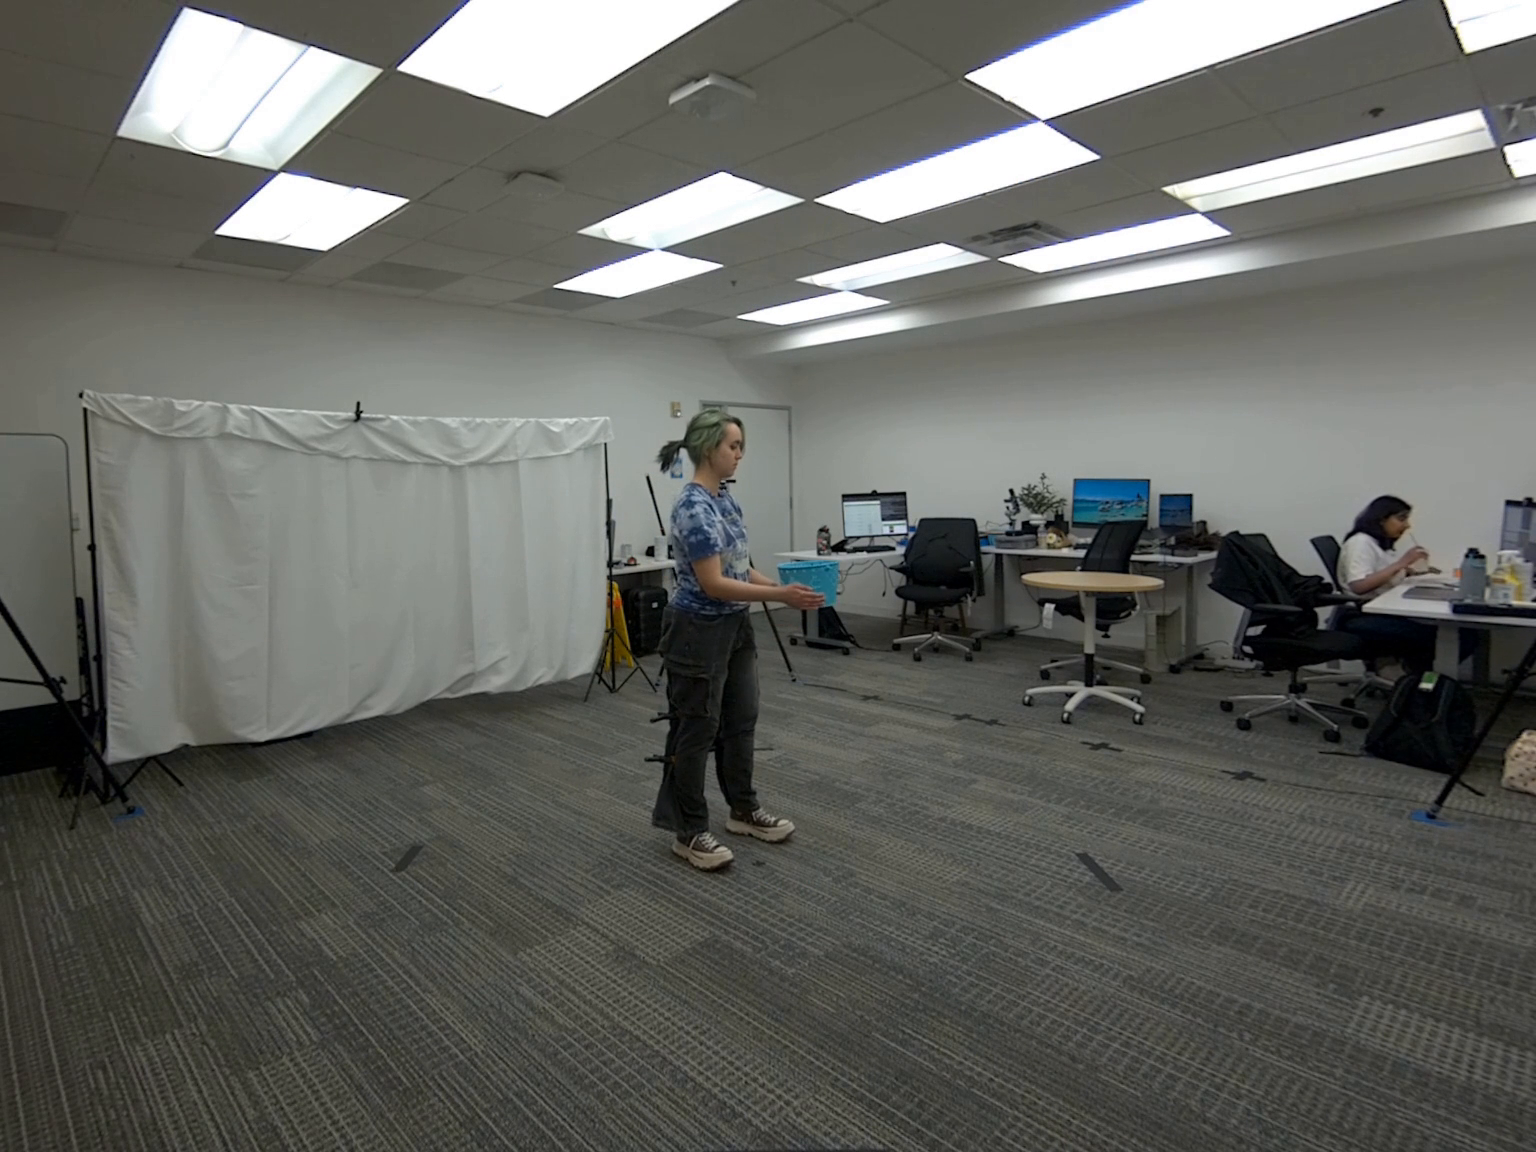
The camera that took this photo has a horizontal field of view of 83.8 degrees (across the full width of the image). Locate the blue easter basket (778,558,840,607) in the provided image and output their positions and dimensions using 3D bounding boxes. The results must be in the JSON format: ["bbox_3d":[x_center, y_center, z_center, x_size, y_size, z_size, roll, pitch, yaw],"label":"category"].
[{"bbox_3d":[0.140,0.033,3.117,0.243,0.155,0.245,-6,6,-1],"label":"blue easter basket"}]
